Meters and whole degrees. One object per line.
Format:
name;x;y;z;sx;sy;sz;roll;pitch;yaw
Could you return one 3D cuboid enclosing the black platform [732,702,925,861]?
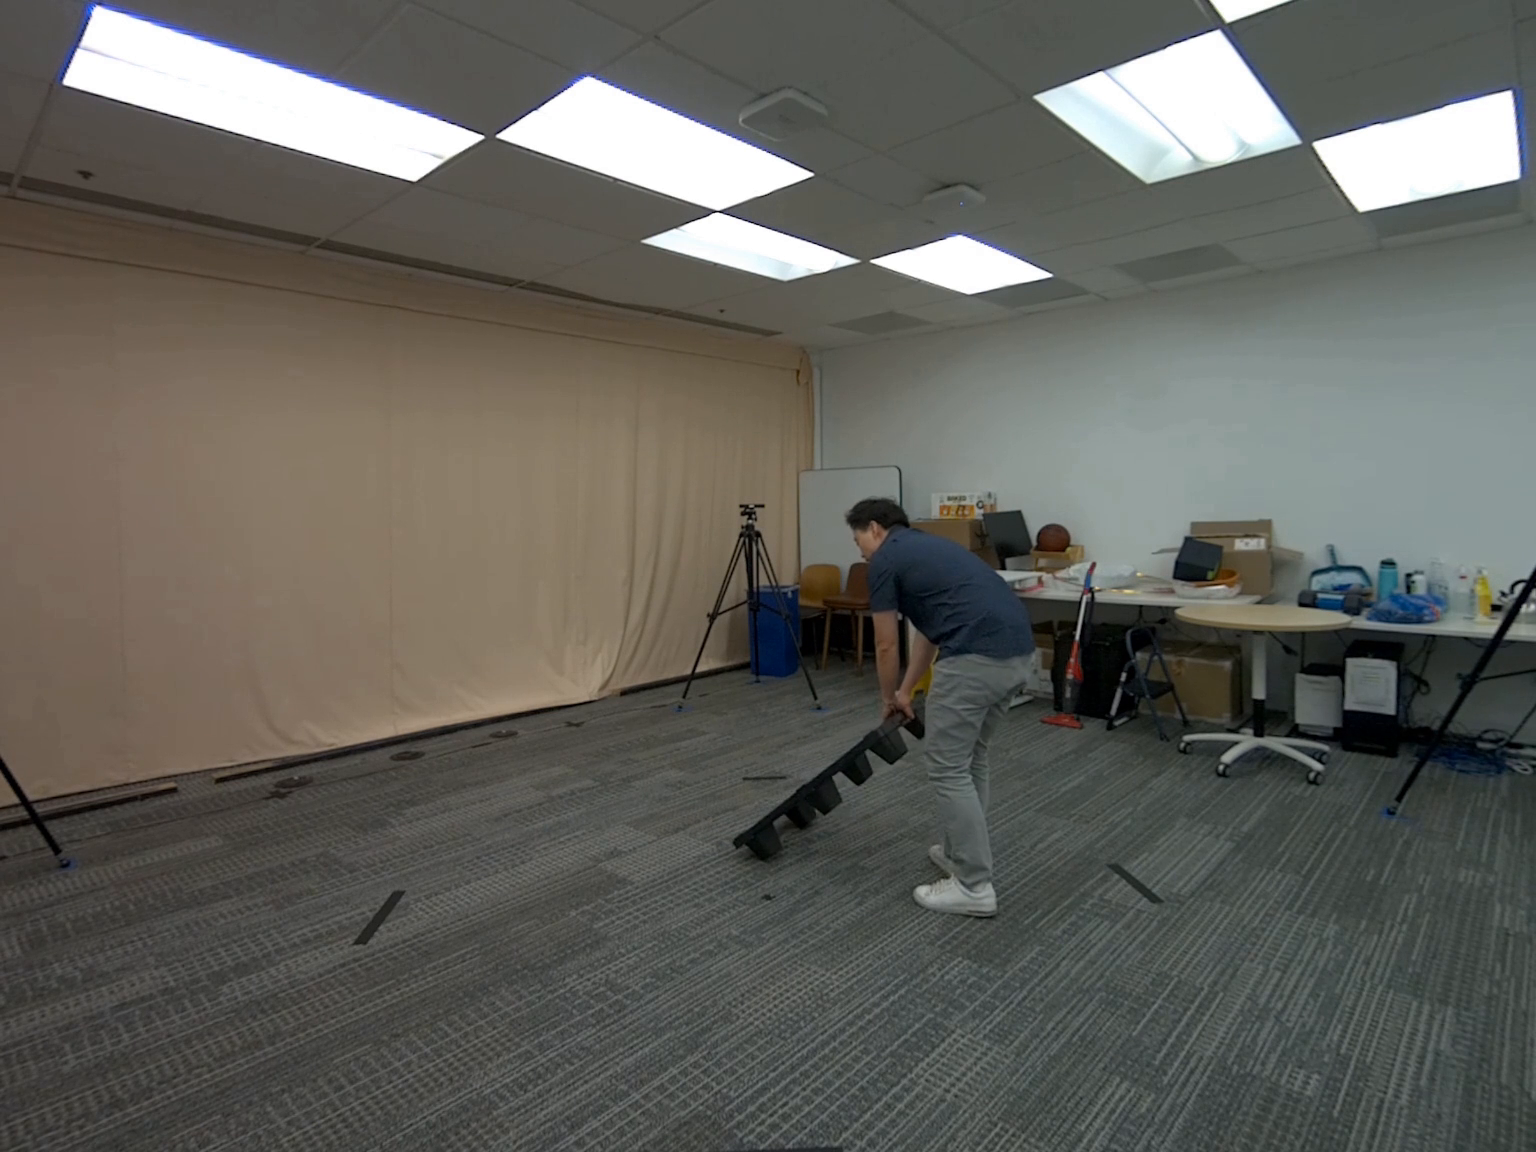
black platform;0.289;0.810;3.354;0.811;0.146;0.590;-44;-14;23
